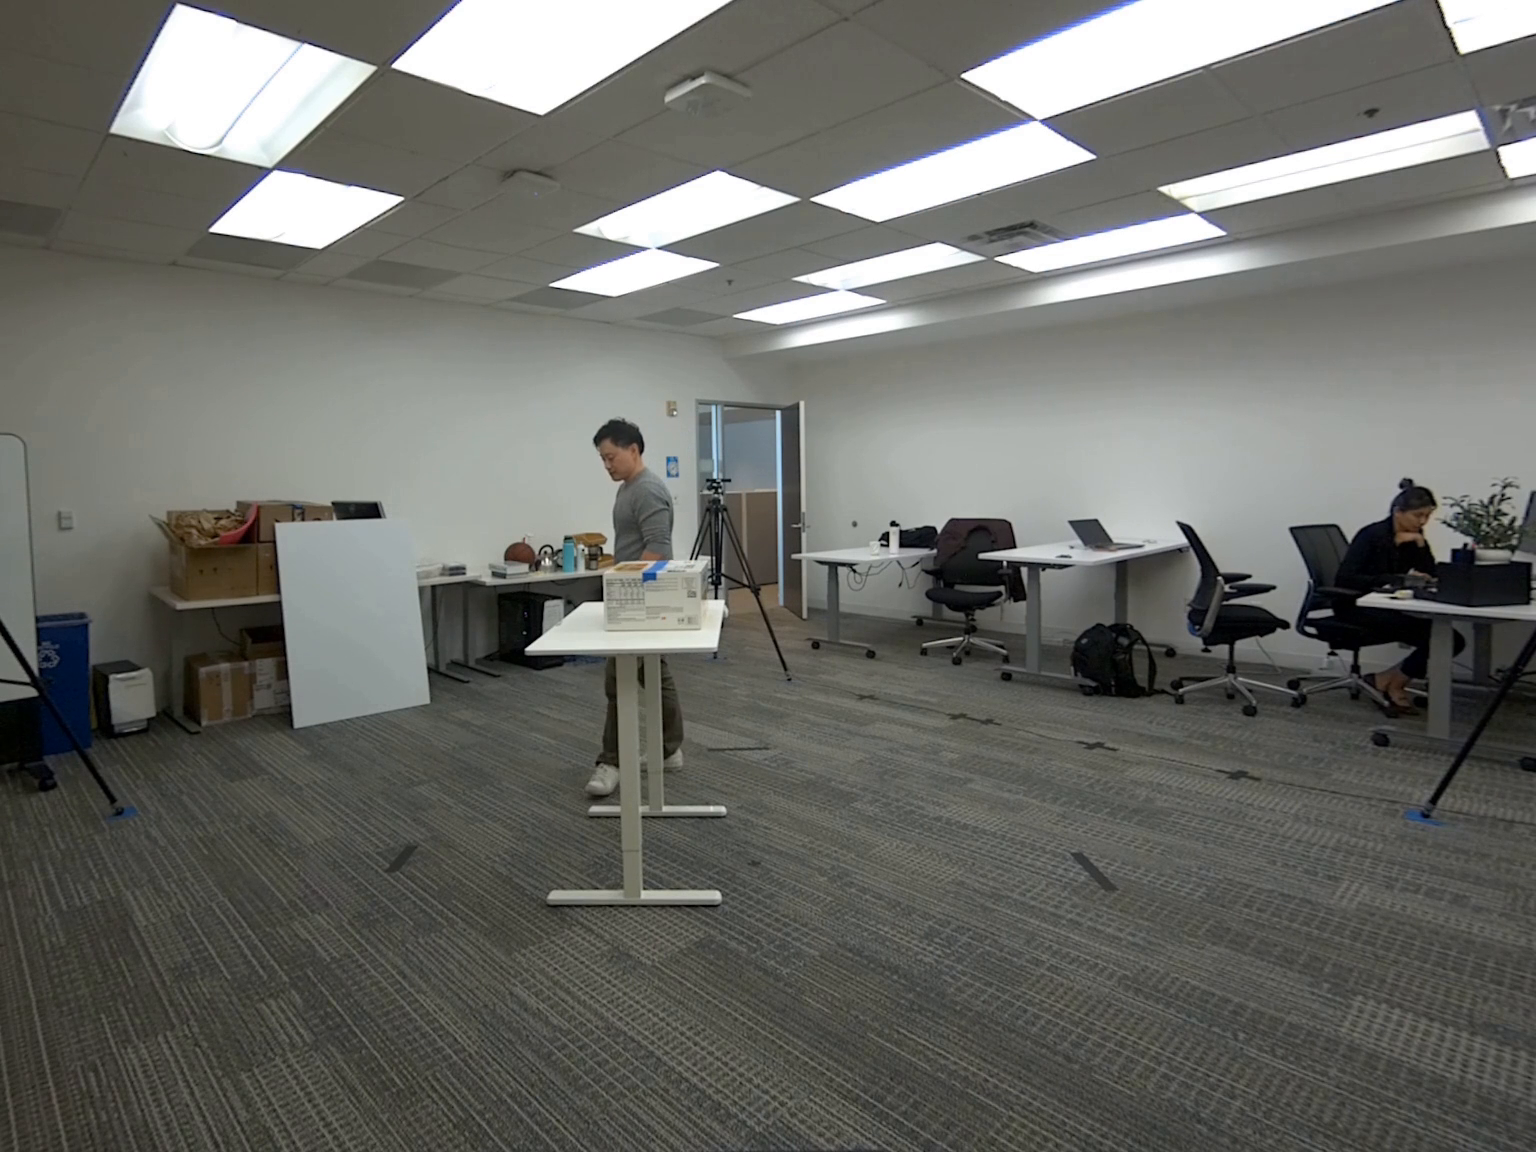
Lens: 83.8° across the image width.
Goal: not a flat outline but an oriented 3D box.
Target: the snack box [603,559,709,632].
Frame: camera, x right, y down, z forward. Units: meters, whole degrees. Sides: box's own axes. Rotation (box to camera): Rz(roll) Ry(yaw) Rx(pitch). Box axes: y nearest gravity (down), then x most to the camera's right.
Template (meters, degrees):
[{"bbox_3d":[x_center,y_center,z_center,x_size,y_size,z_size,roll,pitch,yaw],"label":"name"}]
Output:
[{"bbox_3d":[-0.404,0.066,3.142,0.341,0.205,0.406,-2,6,1],"label":"snack box"}]
